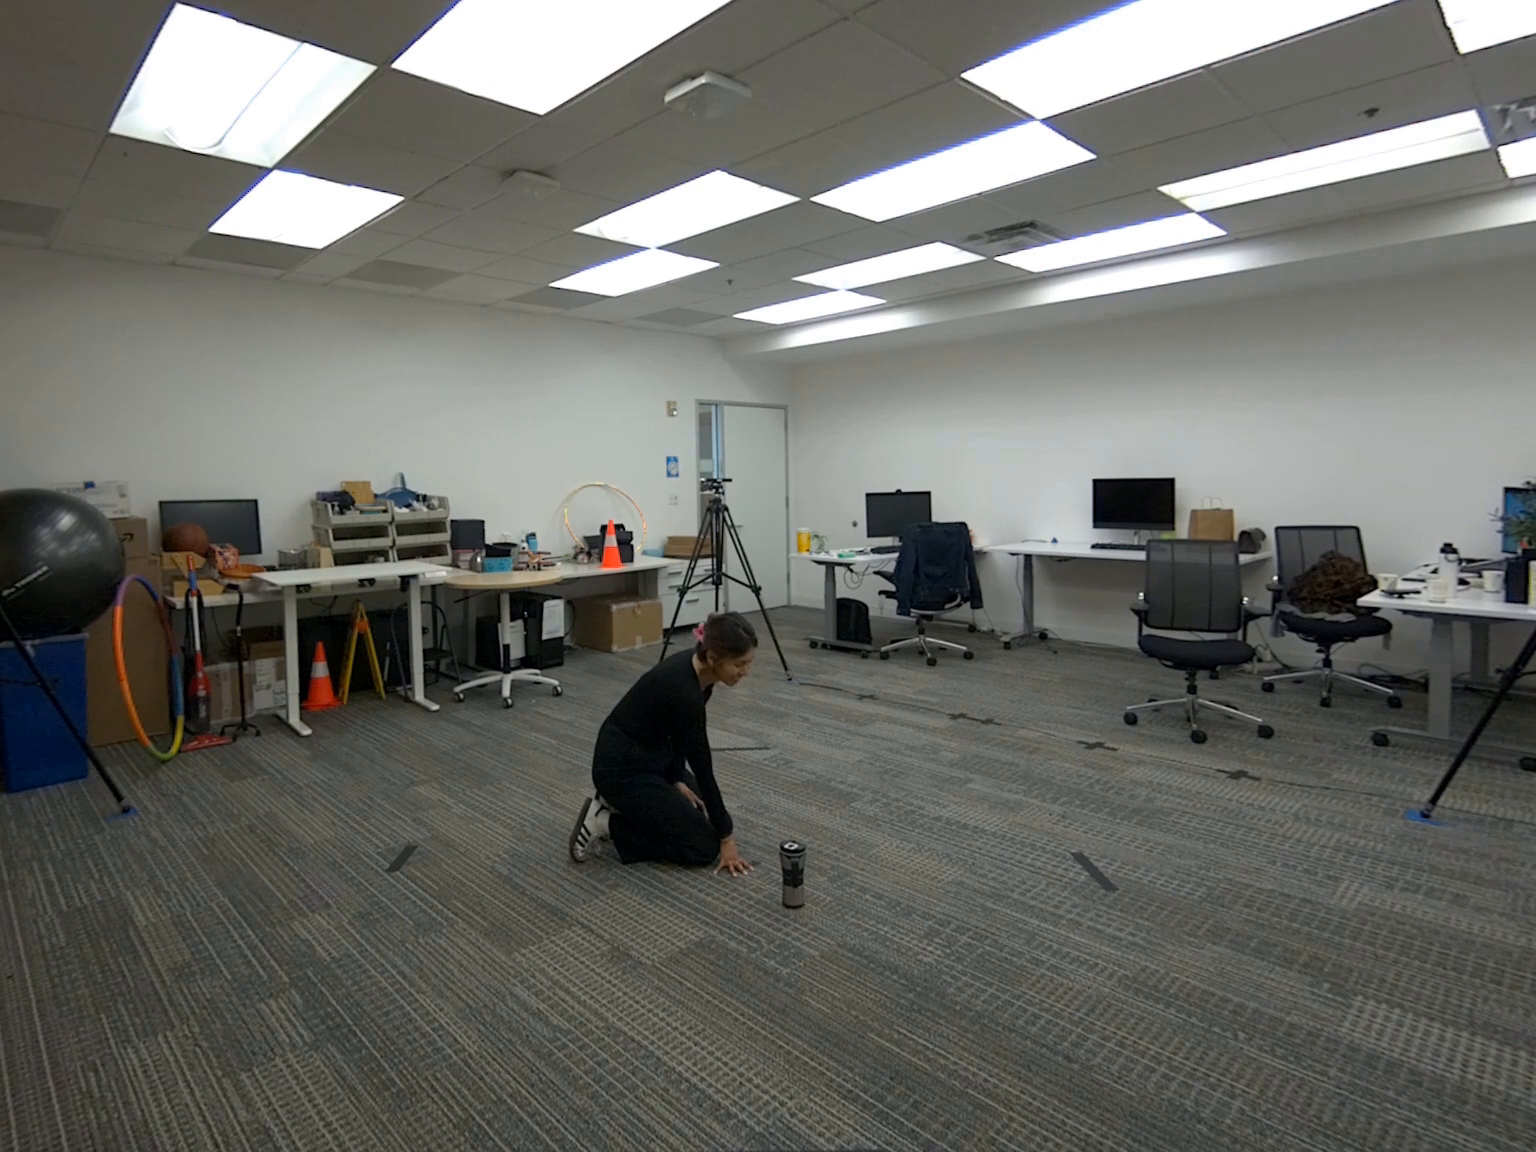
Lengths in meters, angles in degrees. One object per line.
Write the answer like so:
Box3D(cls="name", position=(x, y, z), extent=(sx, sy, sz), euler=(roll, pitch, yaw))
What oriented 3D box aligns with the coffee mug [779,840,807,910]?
Box3D(cls="coffee mug", position=(0.077, 0.980, 2.779), extent=(0.090, 0.202, 0.119), euler=(6, 4, 33))
